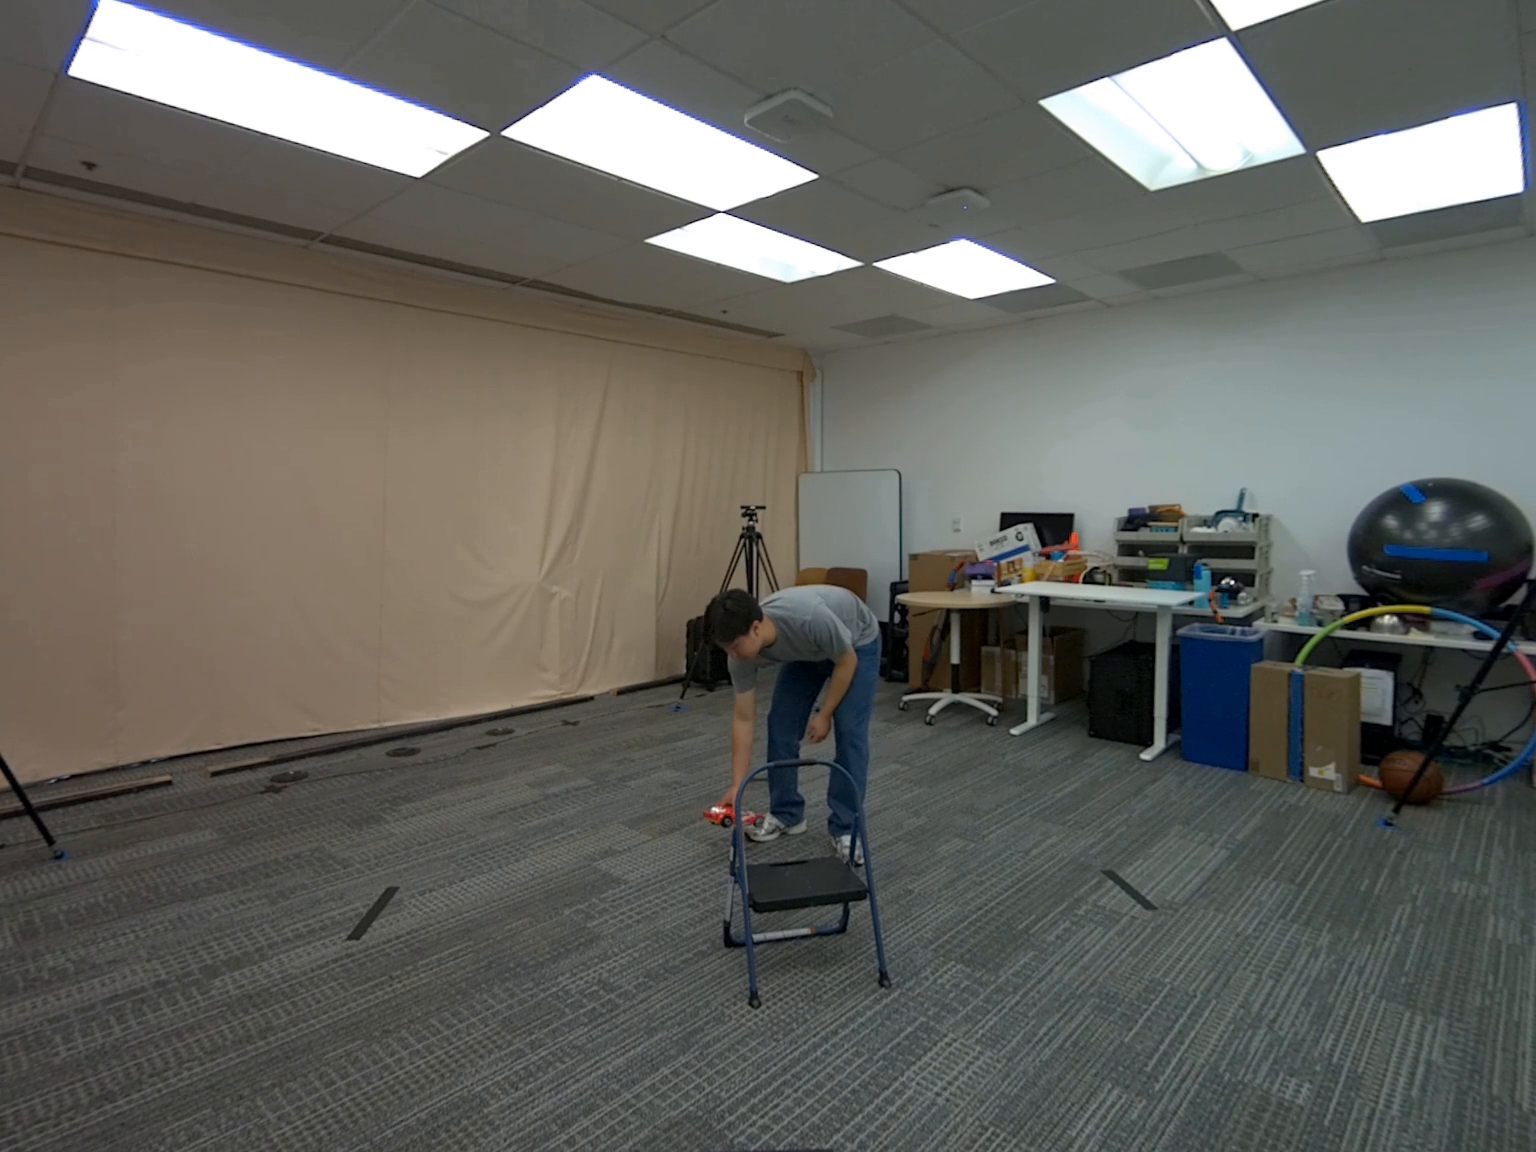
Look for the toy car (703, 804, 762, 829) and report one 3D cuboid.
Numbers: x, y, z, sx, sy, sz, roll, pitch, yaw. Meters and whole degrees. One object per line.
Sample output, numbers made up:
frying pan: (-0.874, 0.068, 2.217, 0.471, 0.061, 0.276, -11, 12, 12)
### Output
toy car: (-0.141, 0.965, 3.357, 0.248, 0.083, 0.133, 22, -17, -23)
